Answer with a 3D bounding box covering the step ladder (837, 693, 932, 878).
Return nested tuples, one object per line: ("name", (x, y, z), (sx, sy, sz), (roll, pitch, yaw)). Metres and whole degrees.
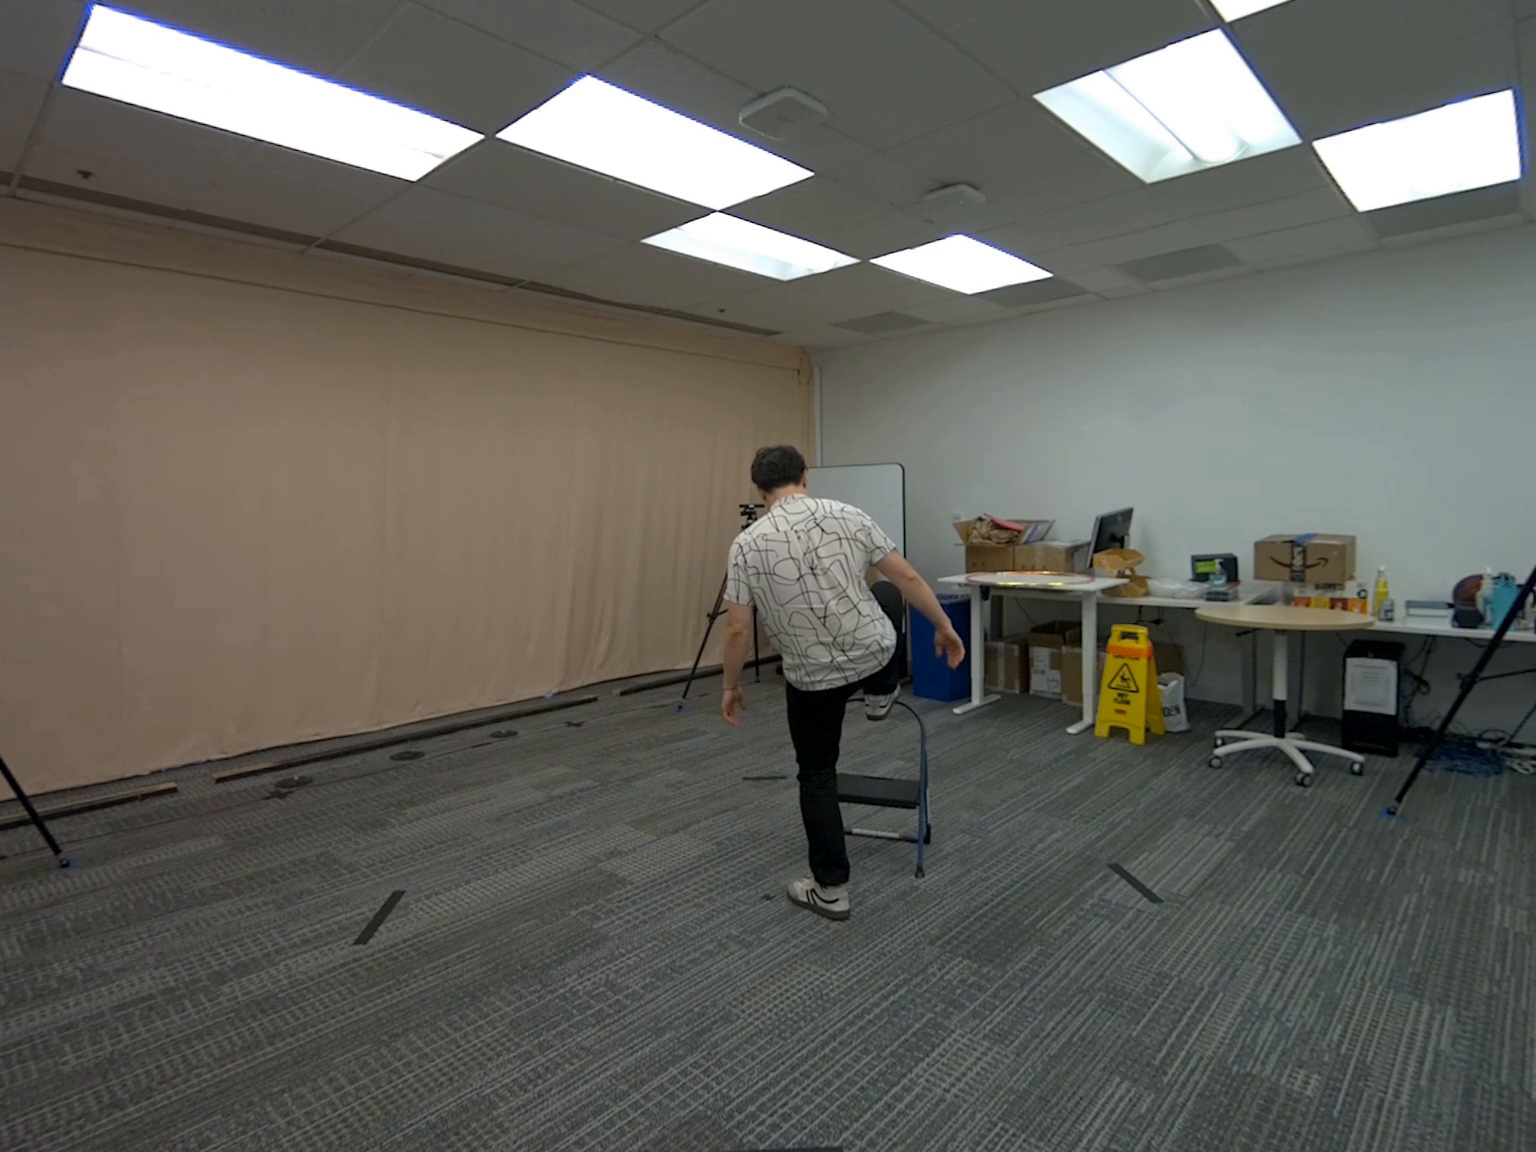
("step ladder", (0.423, 0.797, 3.338), (0.439, 0.605, 0.343), (1, 4, 18))
